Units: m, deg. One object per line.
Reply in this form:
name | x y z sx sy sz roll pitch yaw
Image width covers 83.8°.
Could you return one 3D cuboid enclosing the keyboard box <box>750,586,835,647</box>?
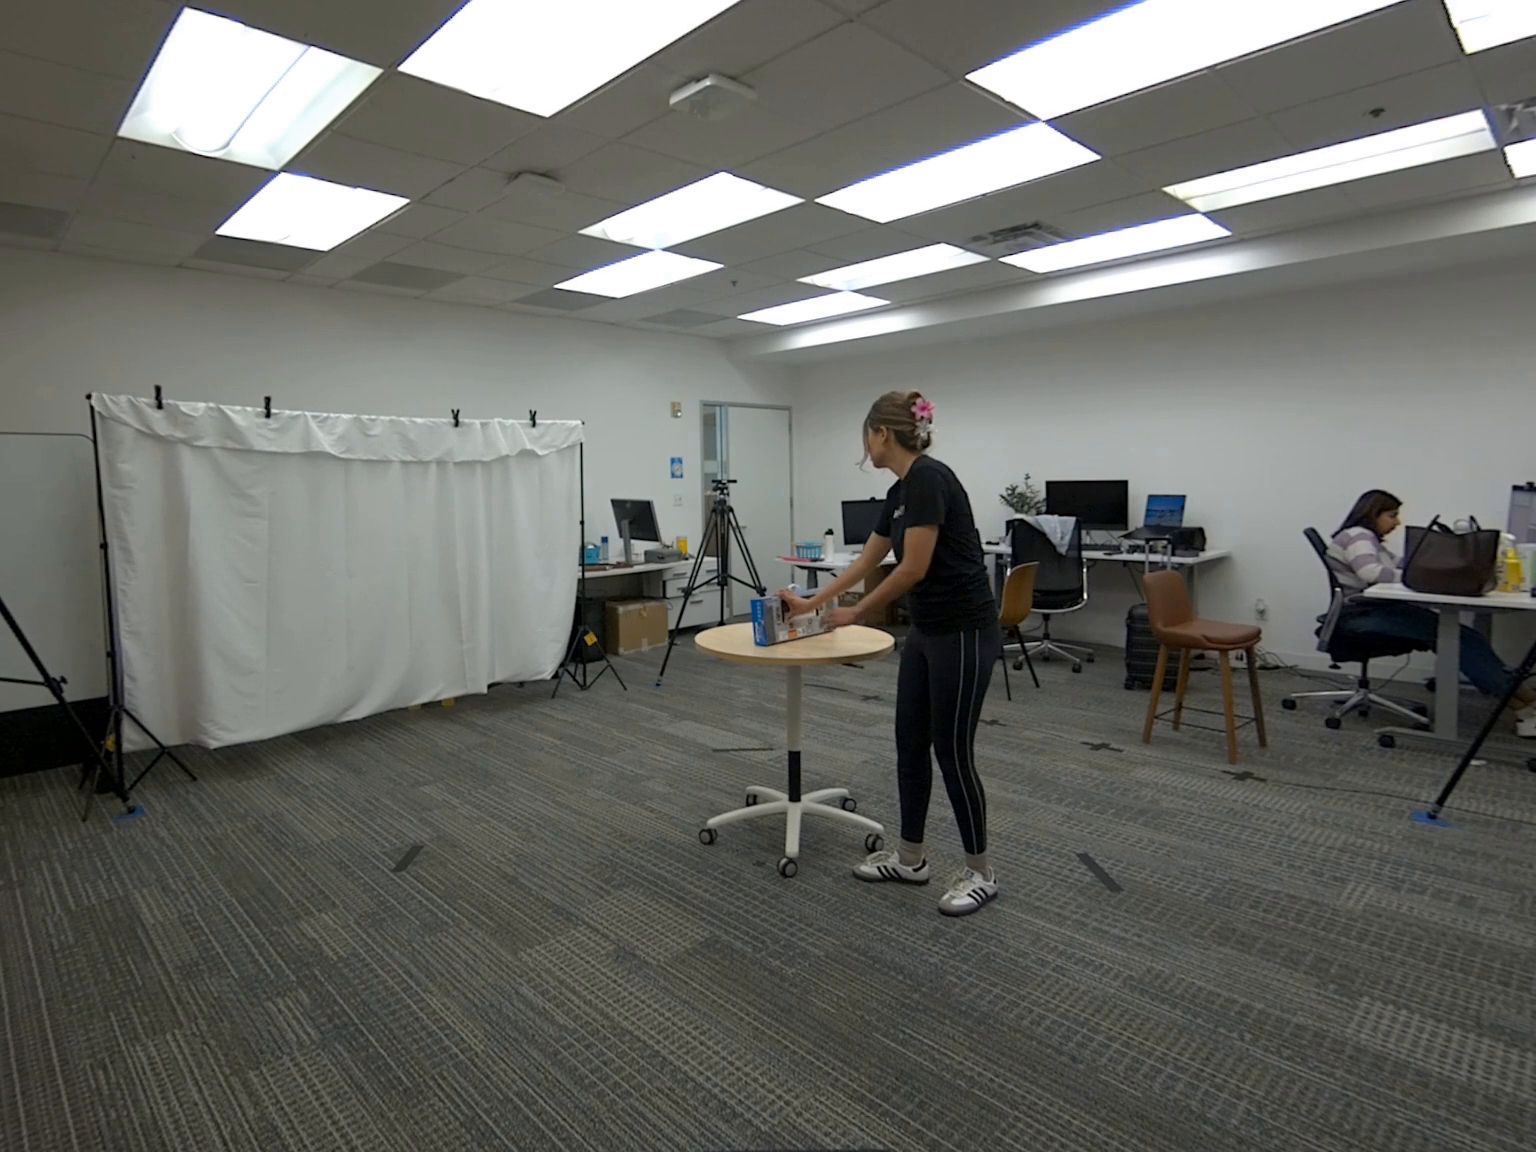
keyboard box | 0.108 0.153 3.299 0.061 0.176 0.425 -5 2 42
